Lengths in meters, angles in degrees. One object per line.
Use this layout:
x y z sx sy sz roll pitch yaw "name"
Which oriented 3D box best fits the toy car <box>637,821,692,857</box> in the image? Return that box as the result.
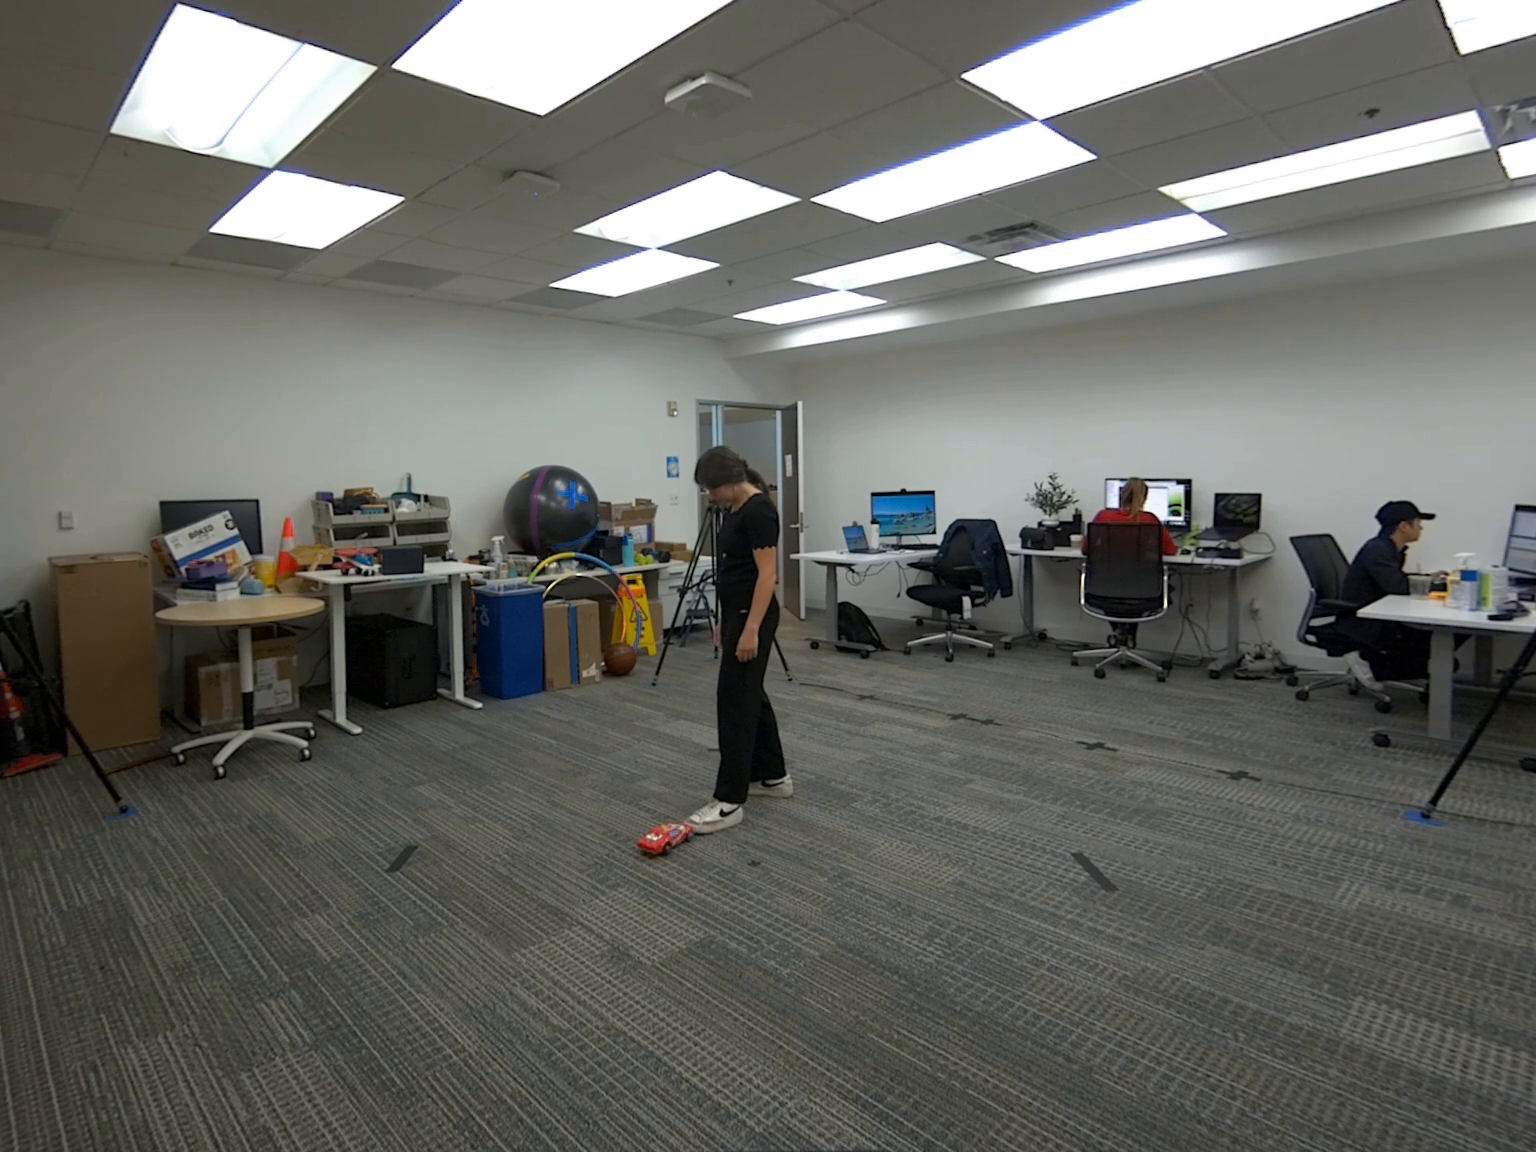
-0.394 1.002 3.262 0.134 0.083 0.246 3 -4 33 "toy car"
